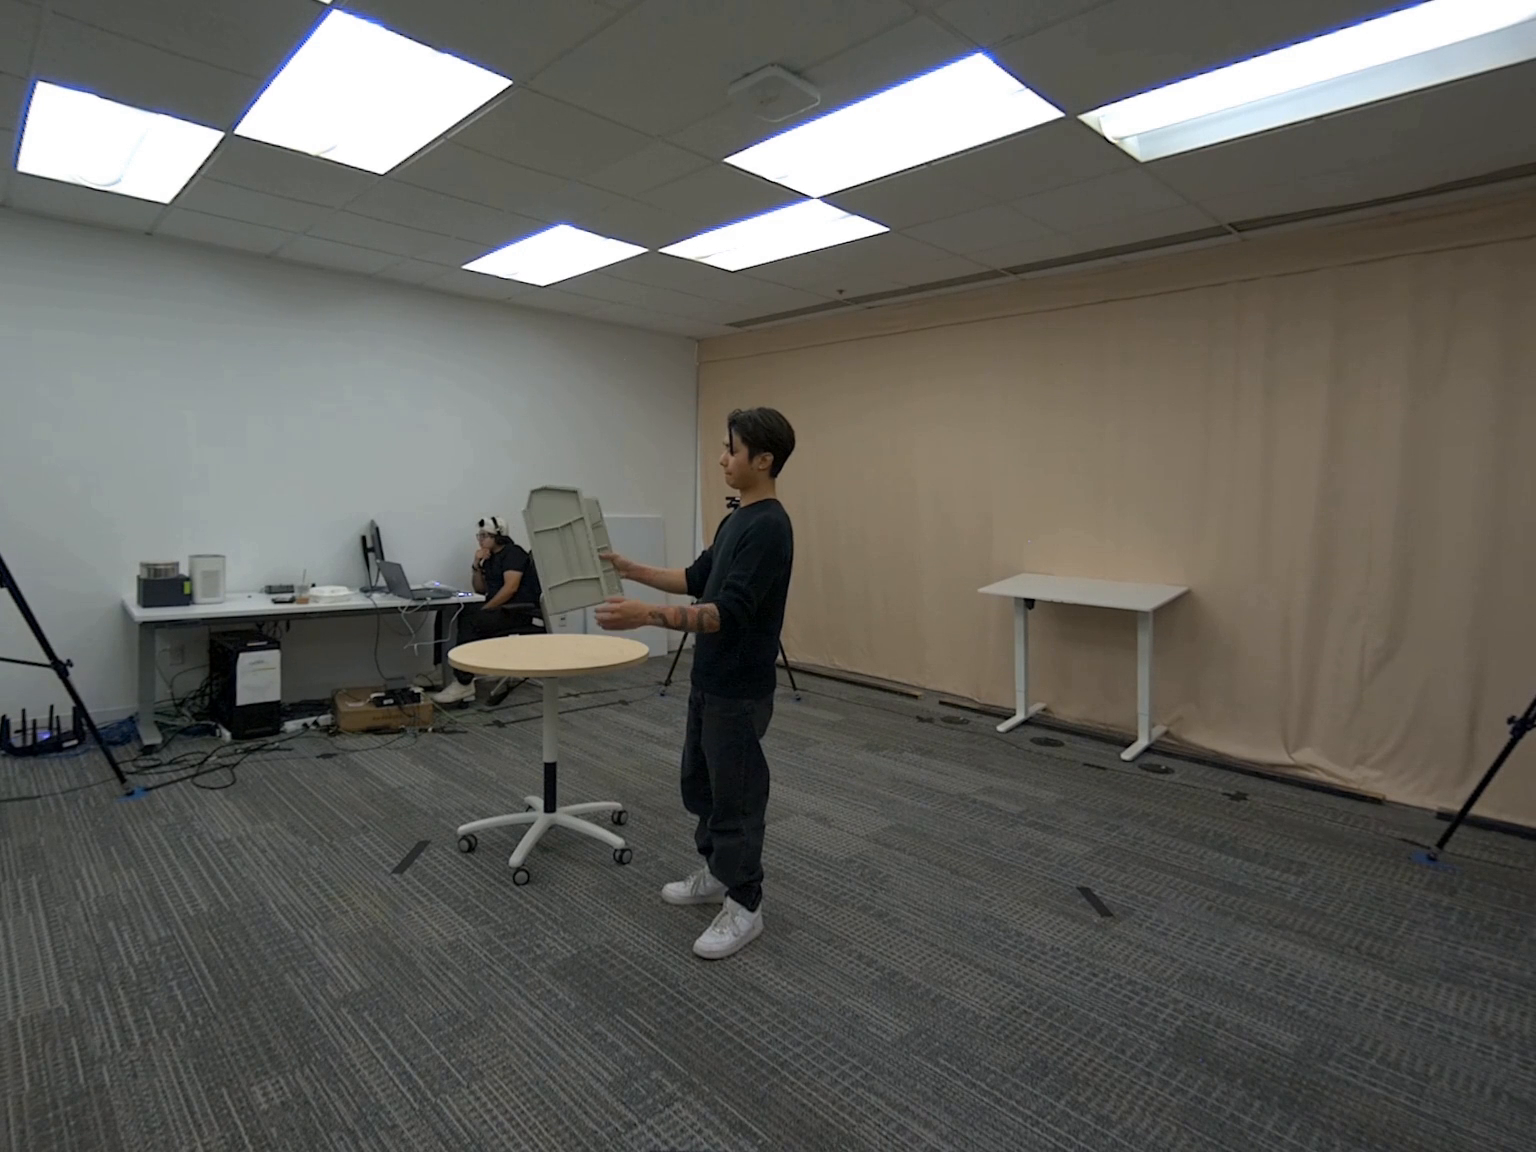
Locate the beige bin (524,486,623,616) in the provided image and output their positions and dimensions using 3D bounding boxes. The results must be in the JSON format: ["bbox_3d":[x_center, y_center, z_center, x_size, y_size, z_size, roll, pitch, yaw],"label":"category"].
[{"bbox_3d":[-0.605,-0.082,2.599,0.188,0.377,0.424,-14,2,-5],"label":"beige bin"}]
